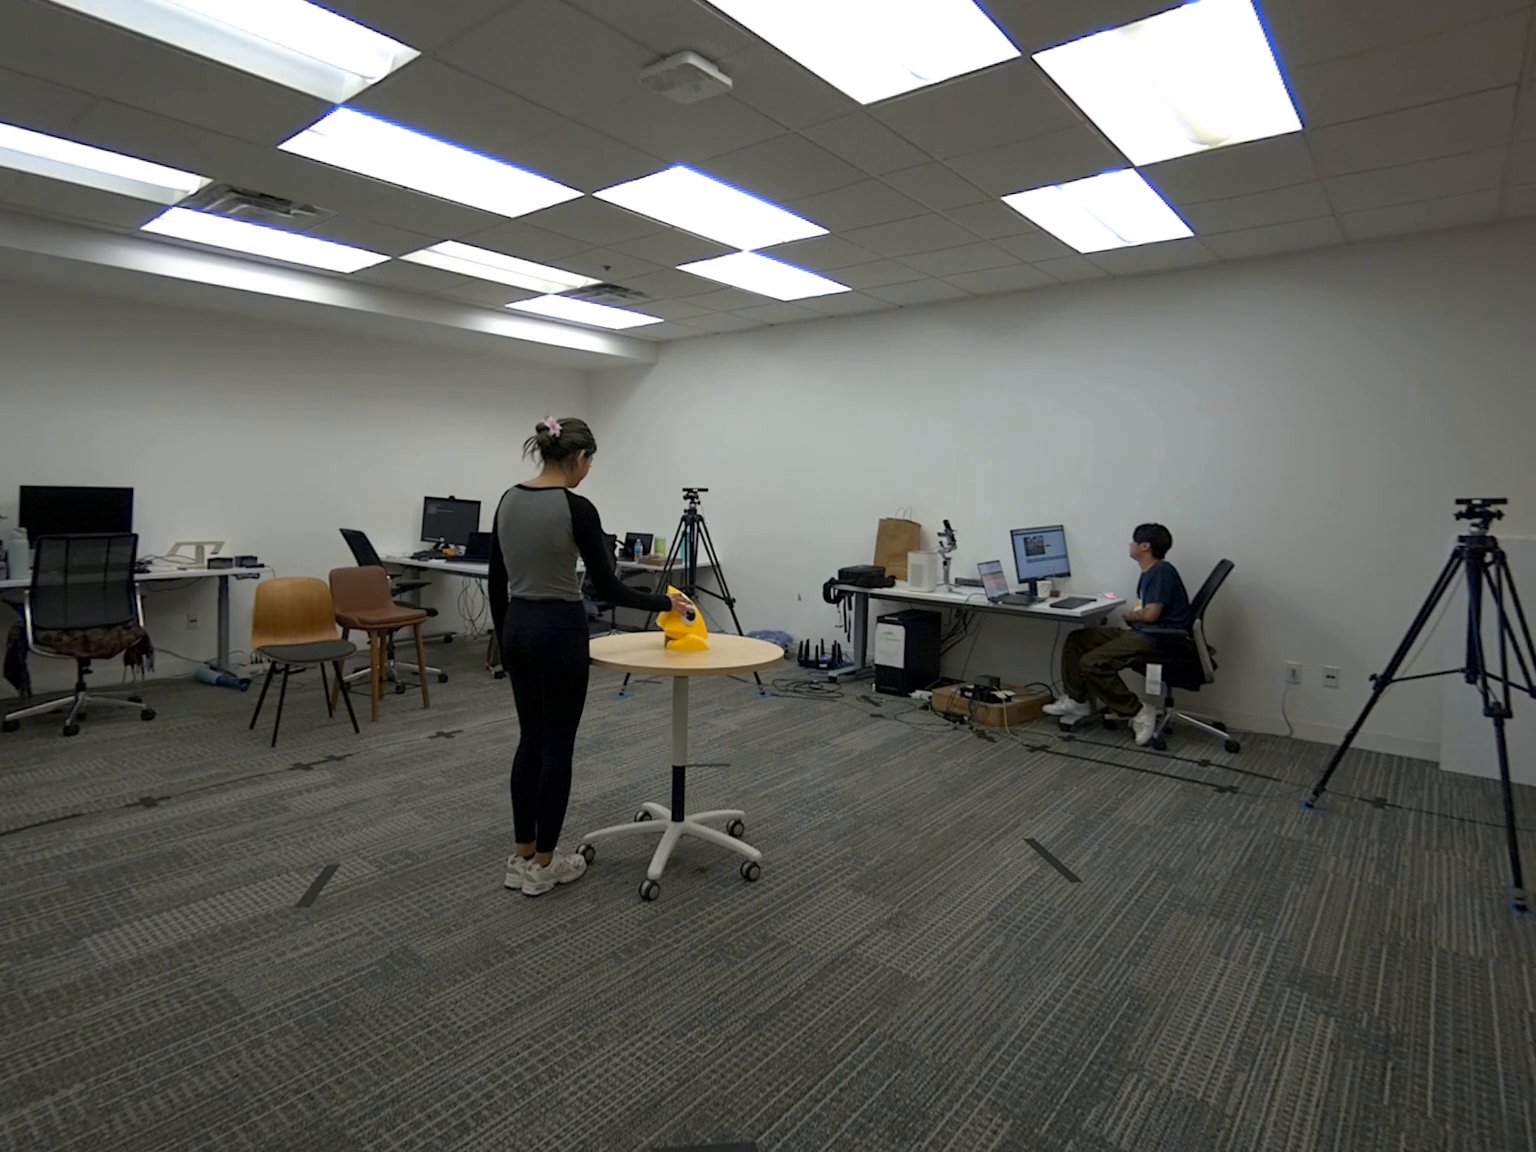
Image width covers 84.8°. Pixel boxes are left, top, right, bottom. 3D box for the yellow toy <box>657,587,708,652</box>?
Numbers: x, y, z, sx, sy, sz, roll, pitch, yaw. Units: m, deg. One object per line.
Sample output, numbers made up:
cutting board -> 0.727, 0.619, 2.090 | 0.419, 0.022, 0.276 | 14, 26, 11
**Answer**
yellow toy -> -0.330, 0.148, 3.221 | 0.190, 0.230, 0.209 | -1, 4, -16
